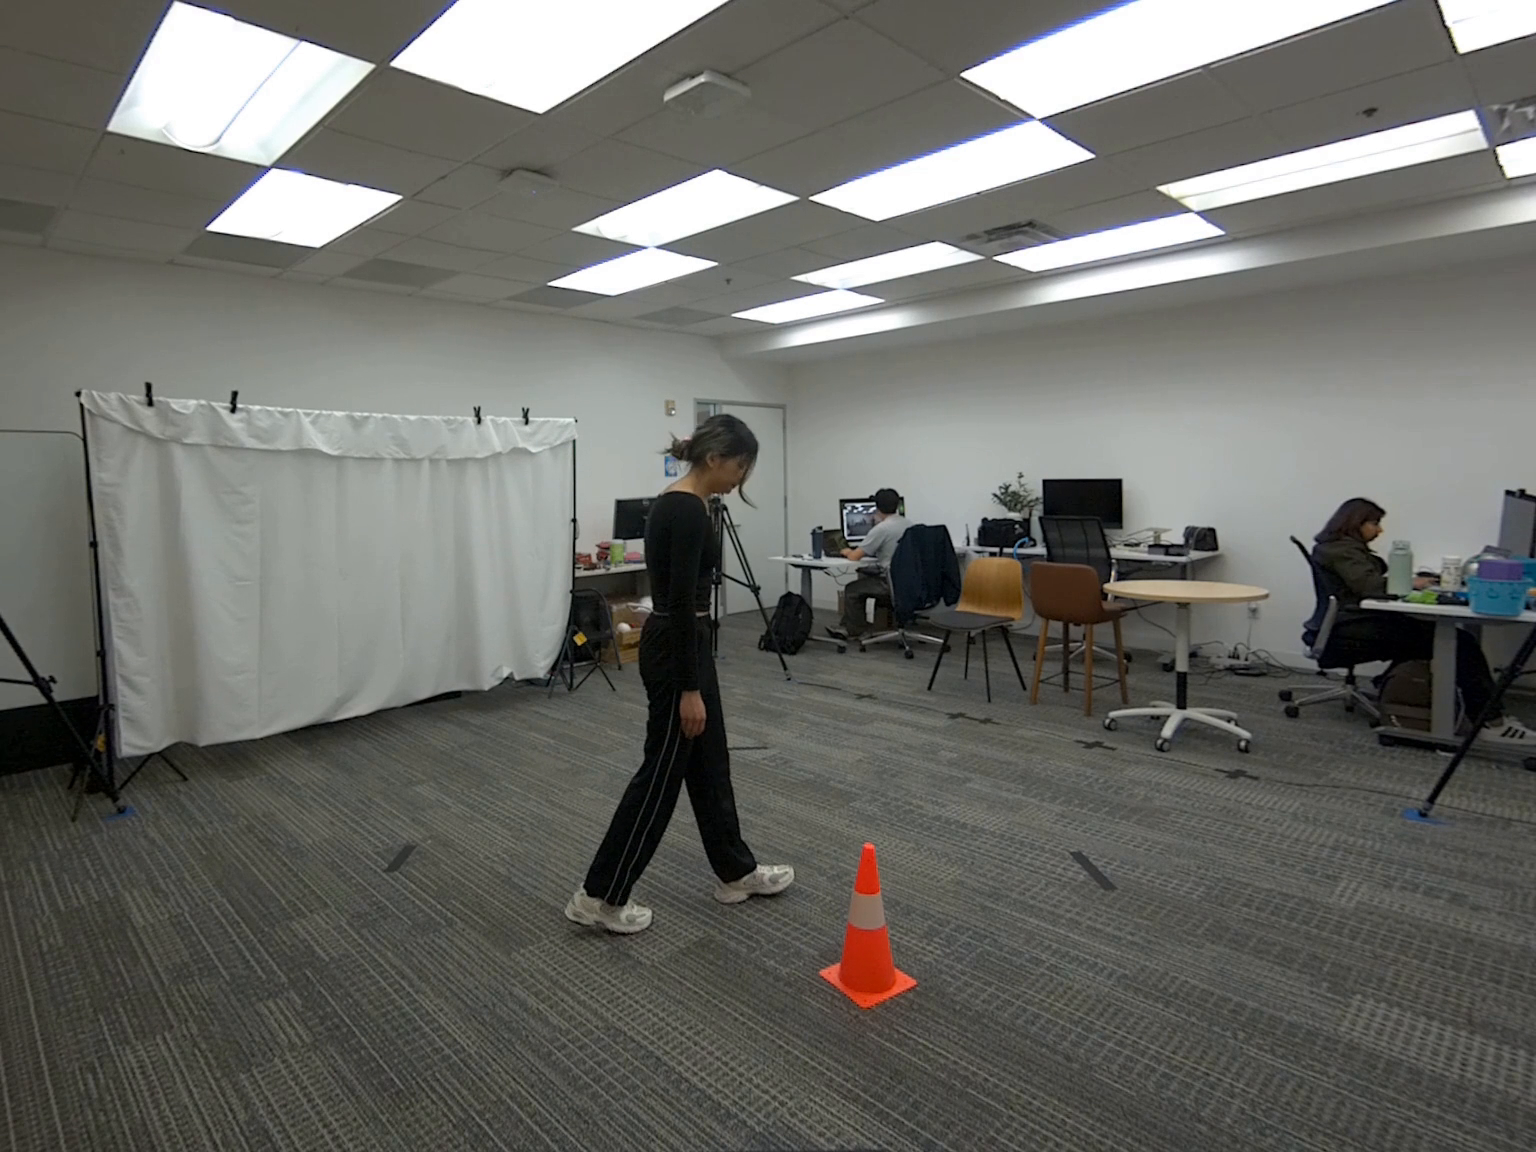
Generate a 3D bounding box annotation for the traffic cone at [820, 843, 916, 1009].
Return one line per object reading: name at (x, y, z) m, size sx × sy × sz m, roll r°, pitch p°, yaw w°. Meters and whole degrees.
traffic cone at (0.281, 0.938, 2.358) m, size 0.199 × 0.382 × 0.211 m, roll -5°, pitch 6°, yaw -31°
